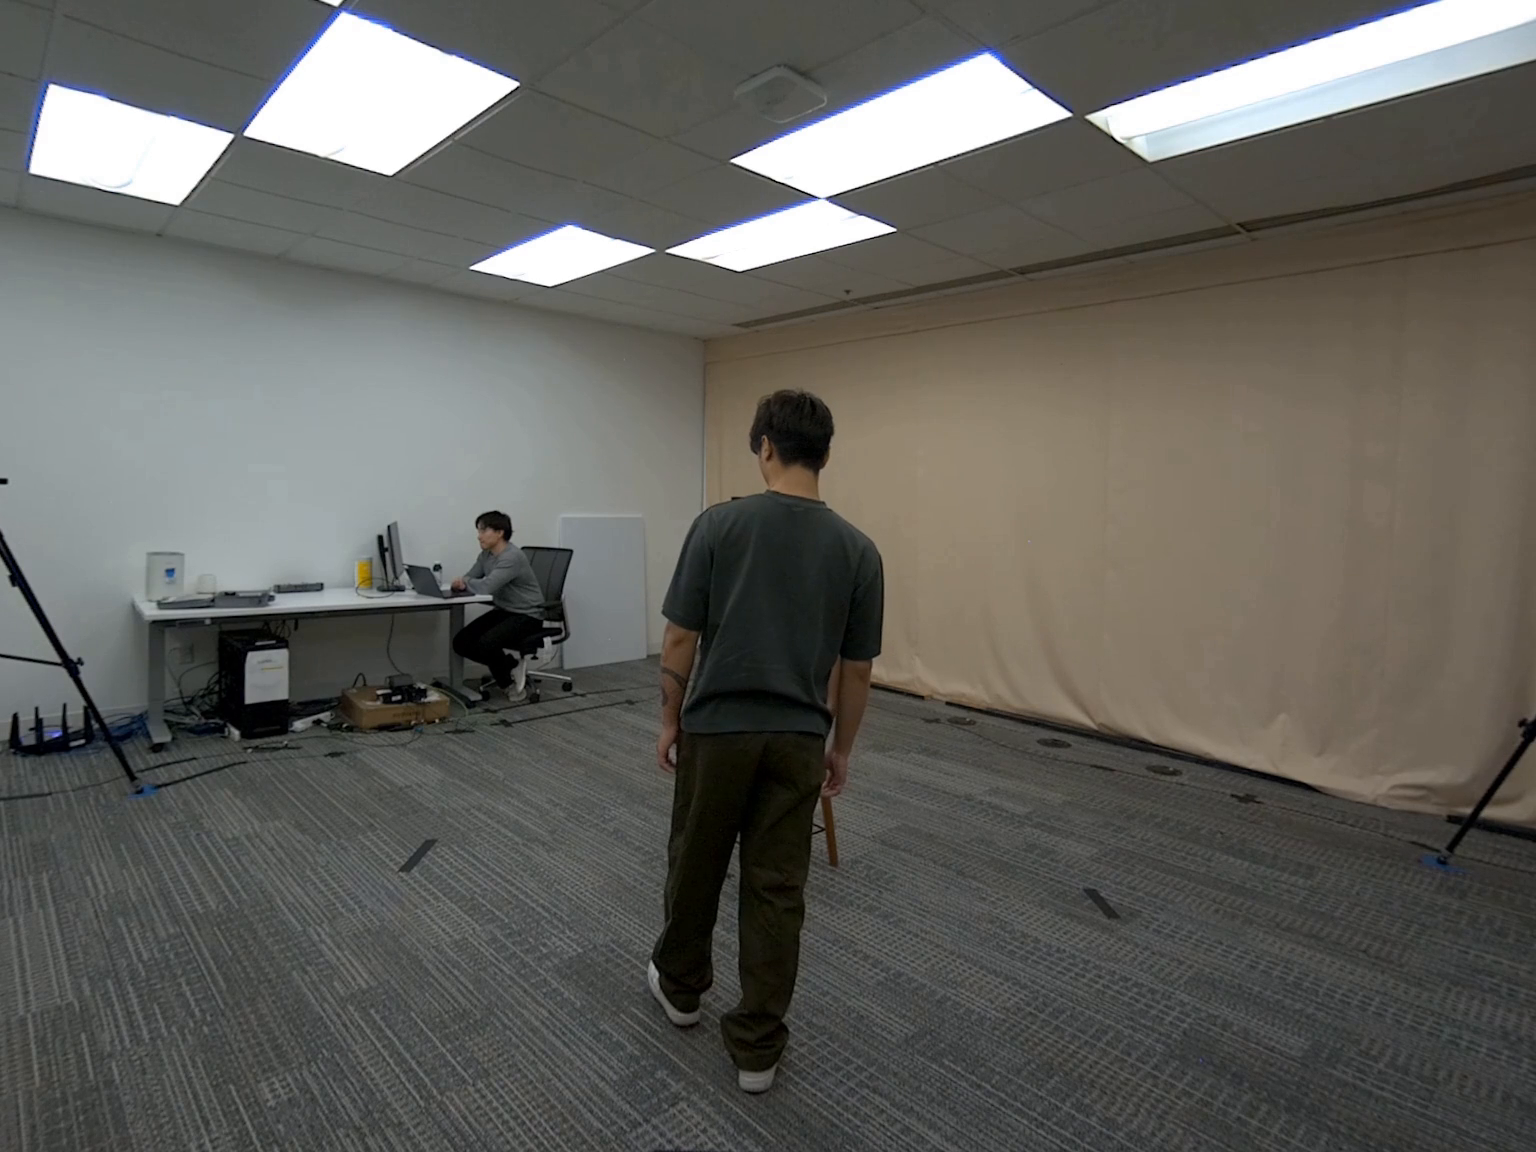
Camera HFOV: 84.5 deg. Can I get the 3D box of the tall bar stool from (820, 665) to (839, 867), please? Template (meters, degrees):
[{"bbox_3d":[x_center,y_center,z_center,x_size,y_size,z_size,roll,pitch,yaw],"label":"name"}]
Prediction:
[{"bbox_3d":[-0.007,0.667,3.217,0.456,0.888,0.468,1,2,-39],"label":"tall bar stool"}]
